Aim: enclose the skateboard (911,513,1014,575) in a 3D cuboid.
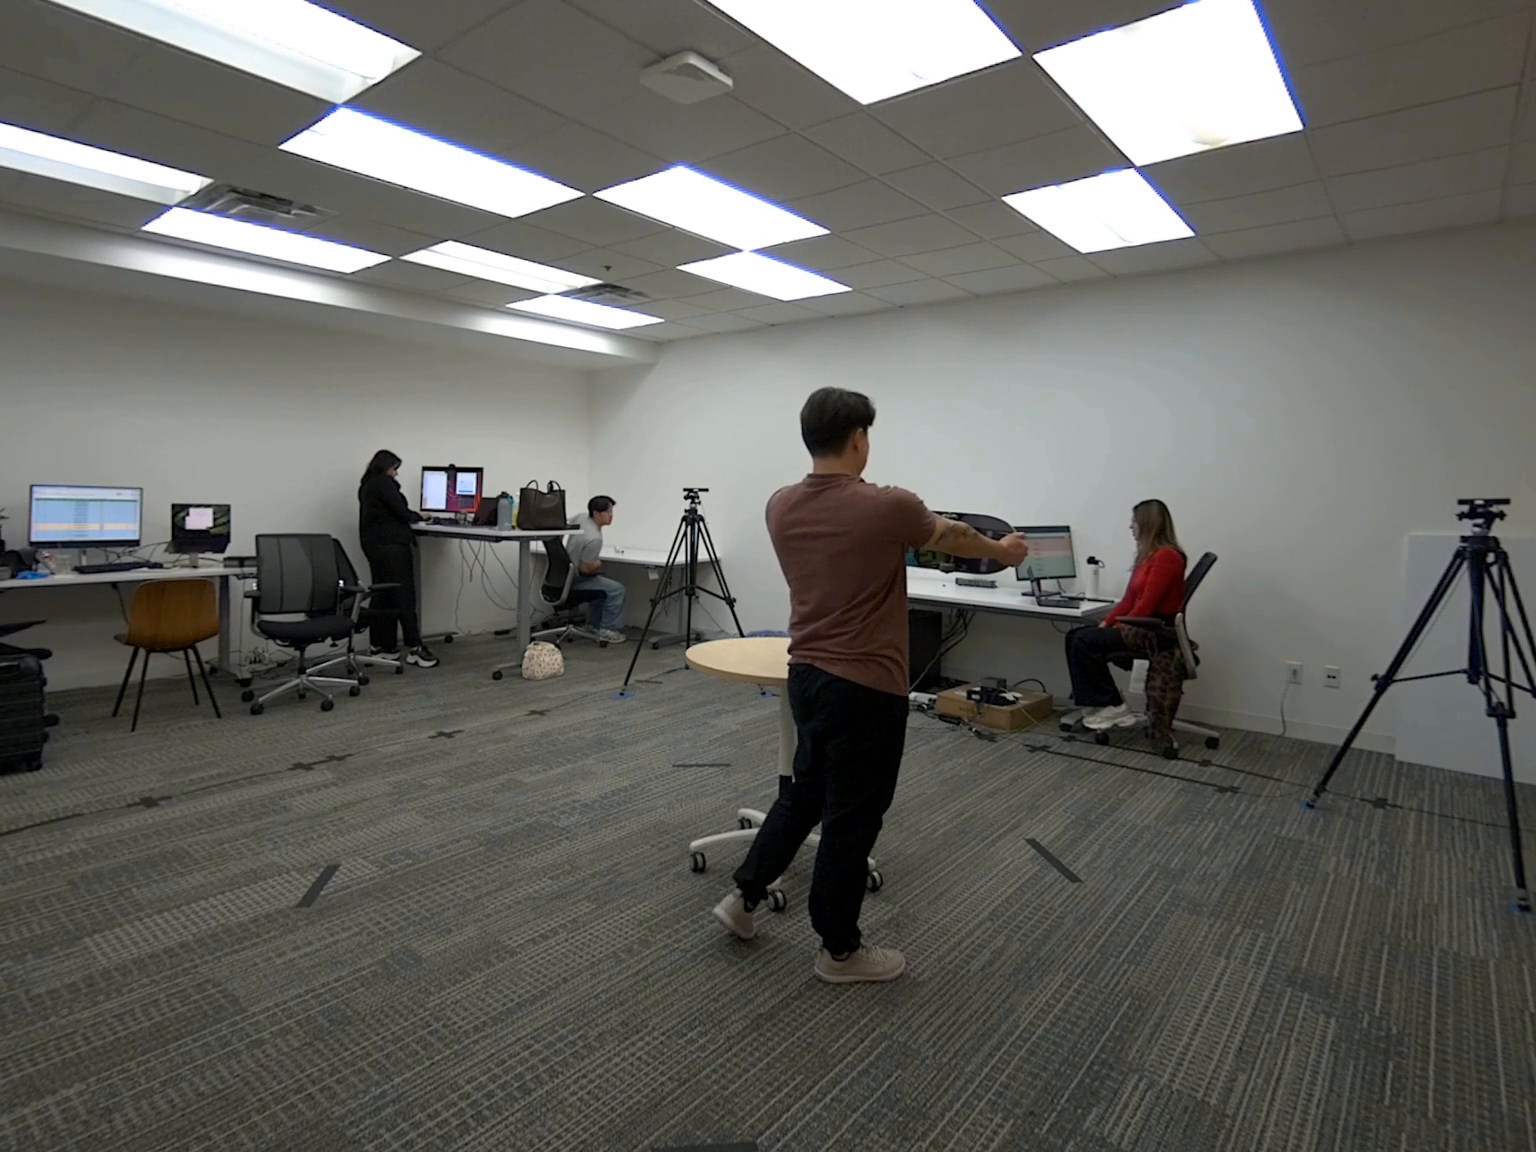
[{"bbox_3d":[0.416,-0.125,2.809,0.812,0.191,0.108,8,13,36],"label":"skateboard"}]
